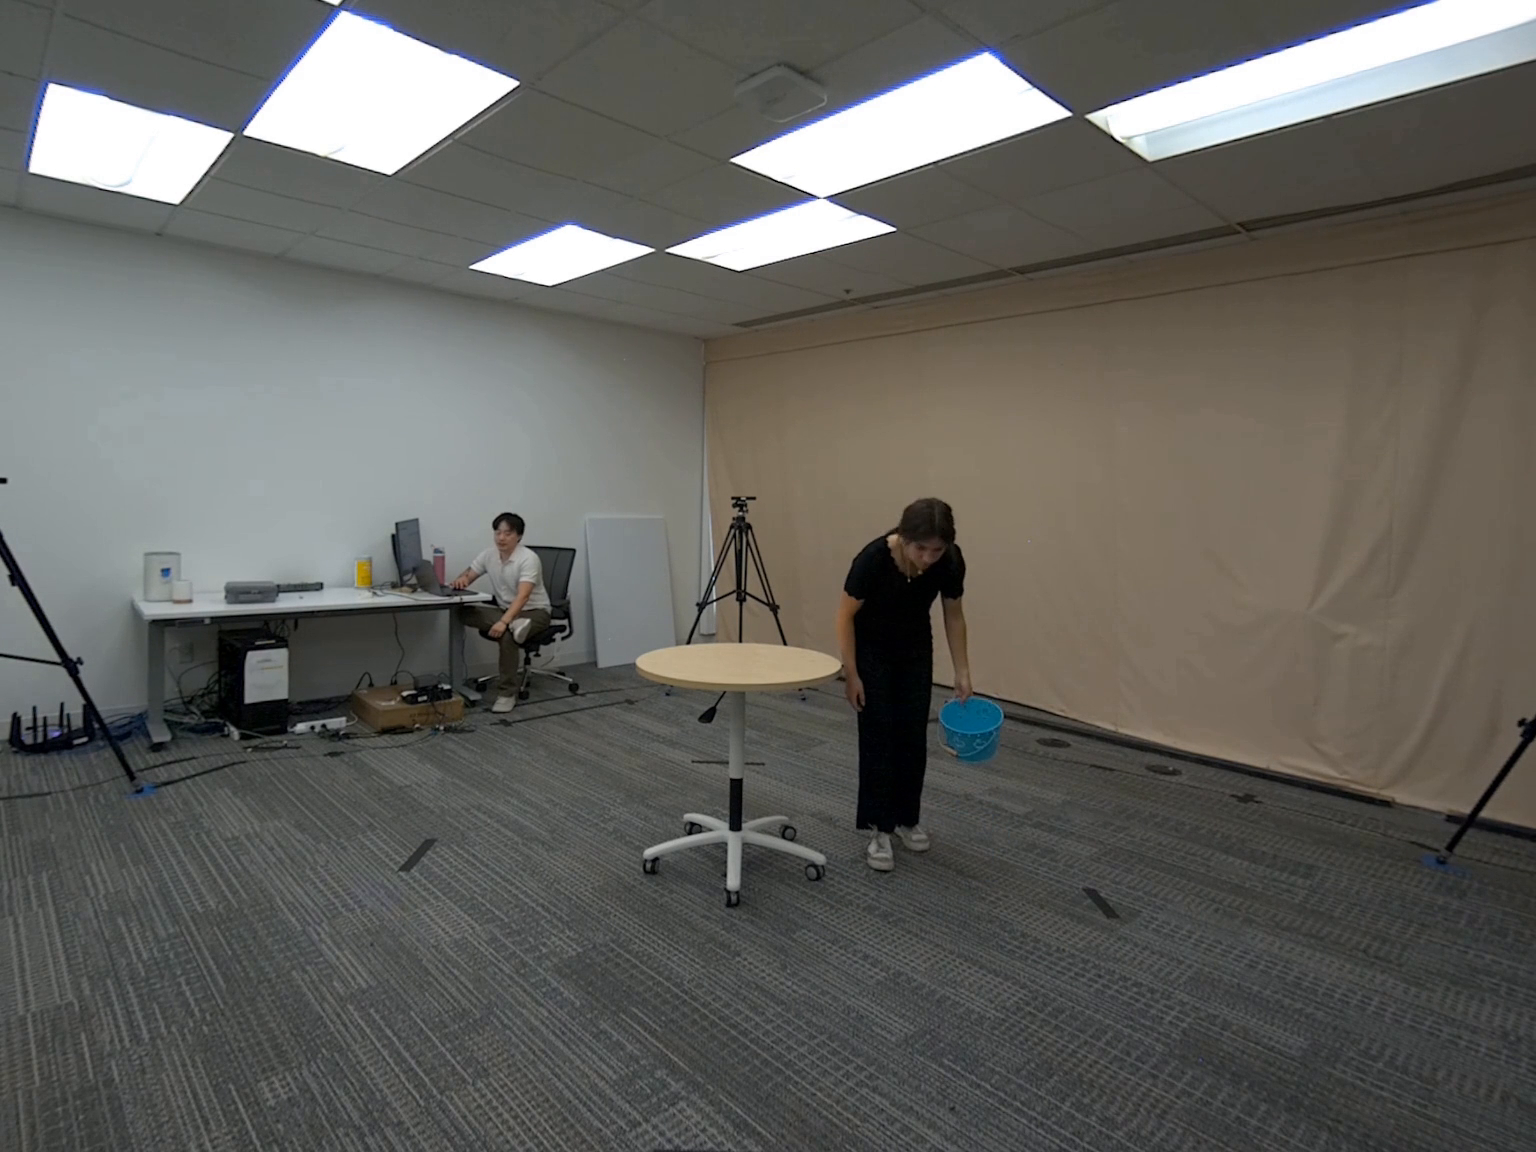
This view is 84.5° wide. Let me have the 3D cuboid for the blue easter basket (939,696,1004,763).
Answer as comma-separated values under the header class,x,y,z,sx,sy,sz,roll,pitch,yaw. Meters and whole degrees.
class,x,y,z,sx,sy,sz,roll,pitch,yaw
blue easter basket,0.754,0.584,3.184,0.244,0.153,0.247,-5,21,1
